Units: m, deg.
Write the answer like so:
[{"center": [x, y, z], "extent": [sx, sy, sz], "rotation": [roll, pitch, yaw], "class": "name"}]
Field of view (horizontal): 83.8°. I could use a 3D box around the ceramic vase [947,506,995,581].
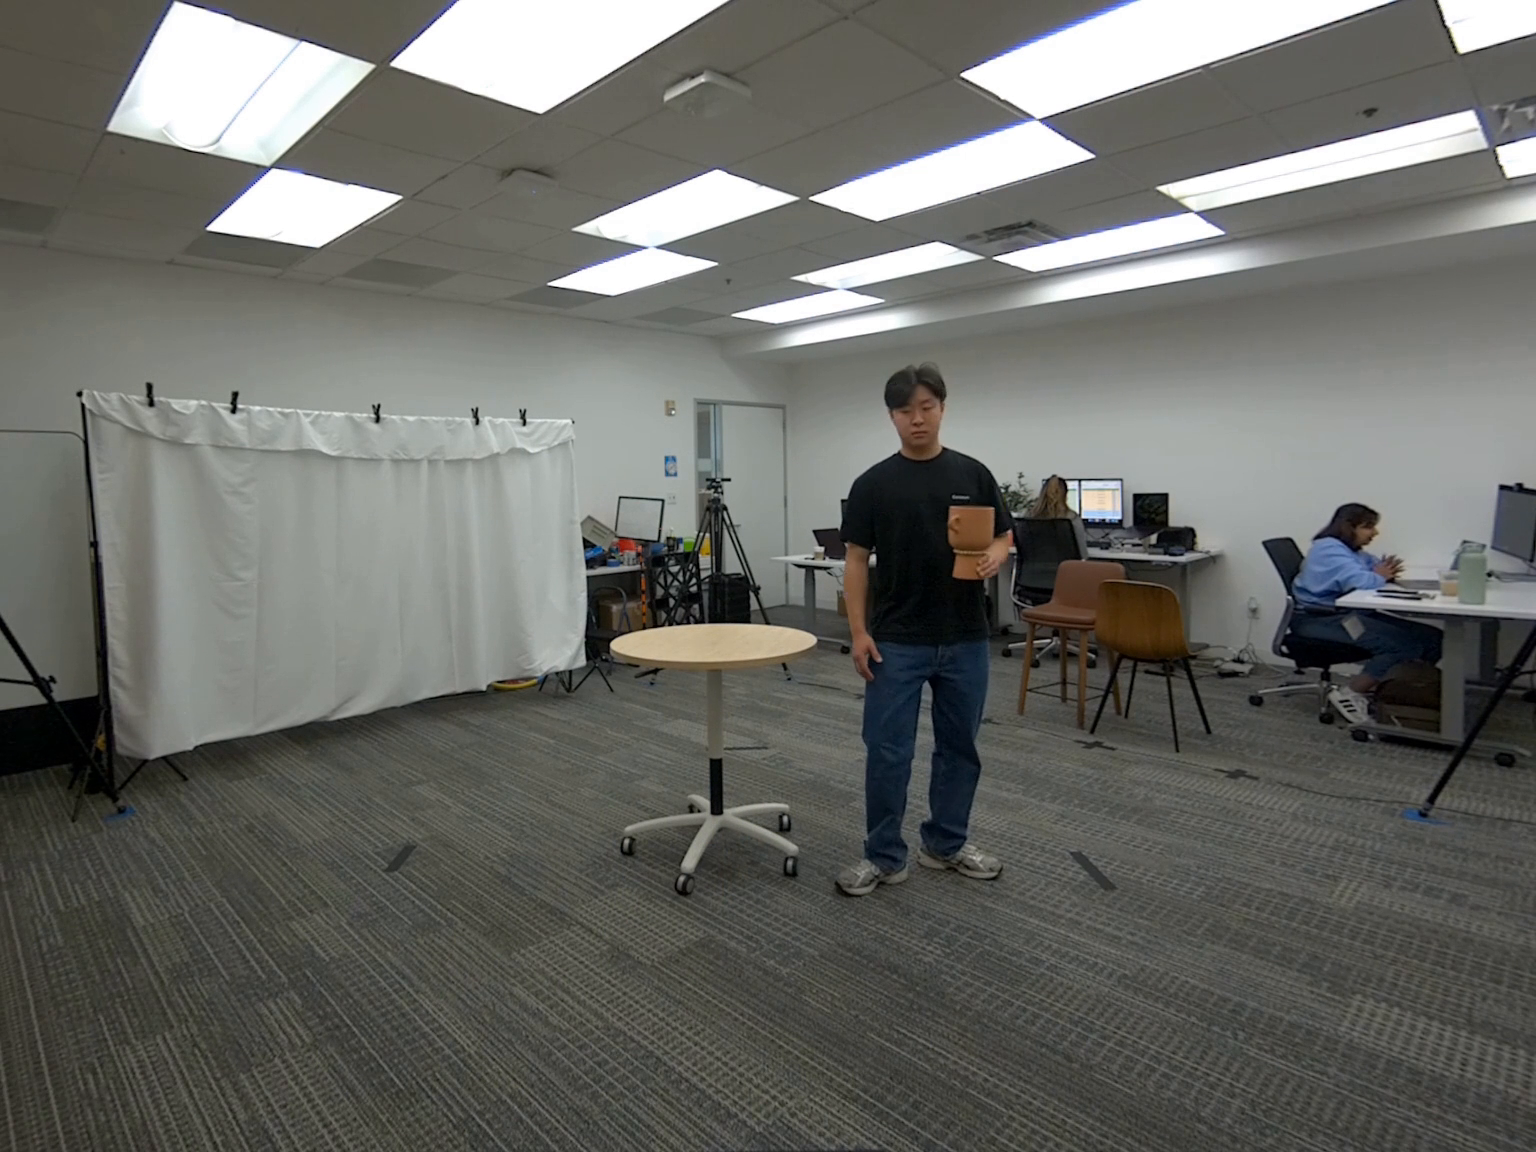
[{"center": [0.616, -0.105, 2.666], "extent": [0.160, 0.219, 0.134], "rotation": [2, 6, 4], "class": "ceramic vase"}]
